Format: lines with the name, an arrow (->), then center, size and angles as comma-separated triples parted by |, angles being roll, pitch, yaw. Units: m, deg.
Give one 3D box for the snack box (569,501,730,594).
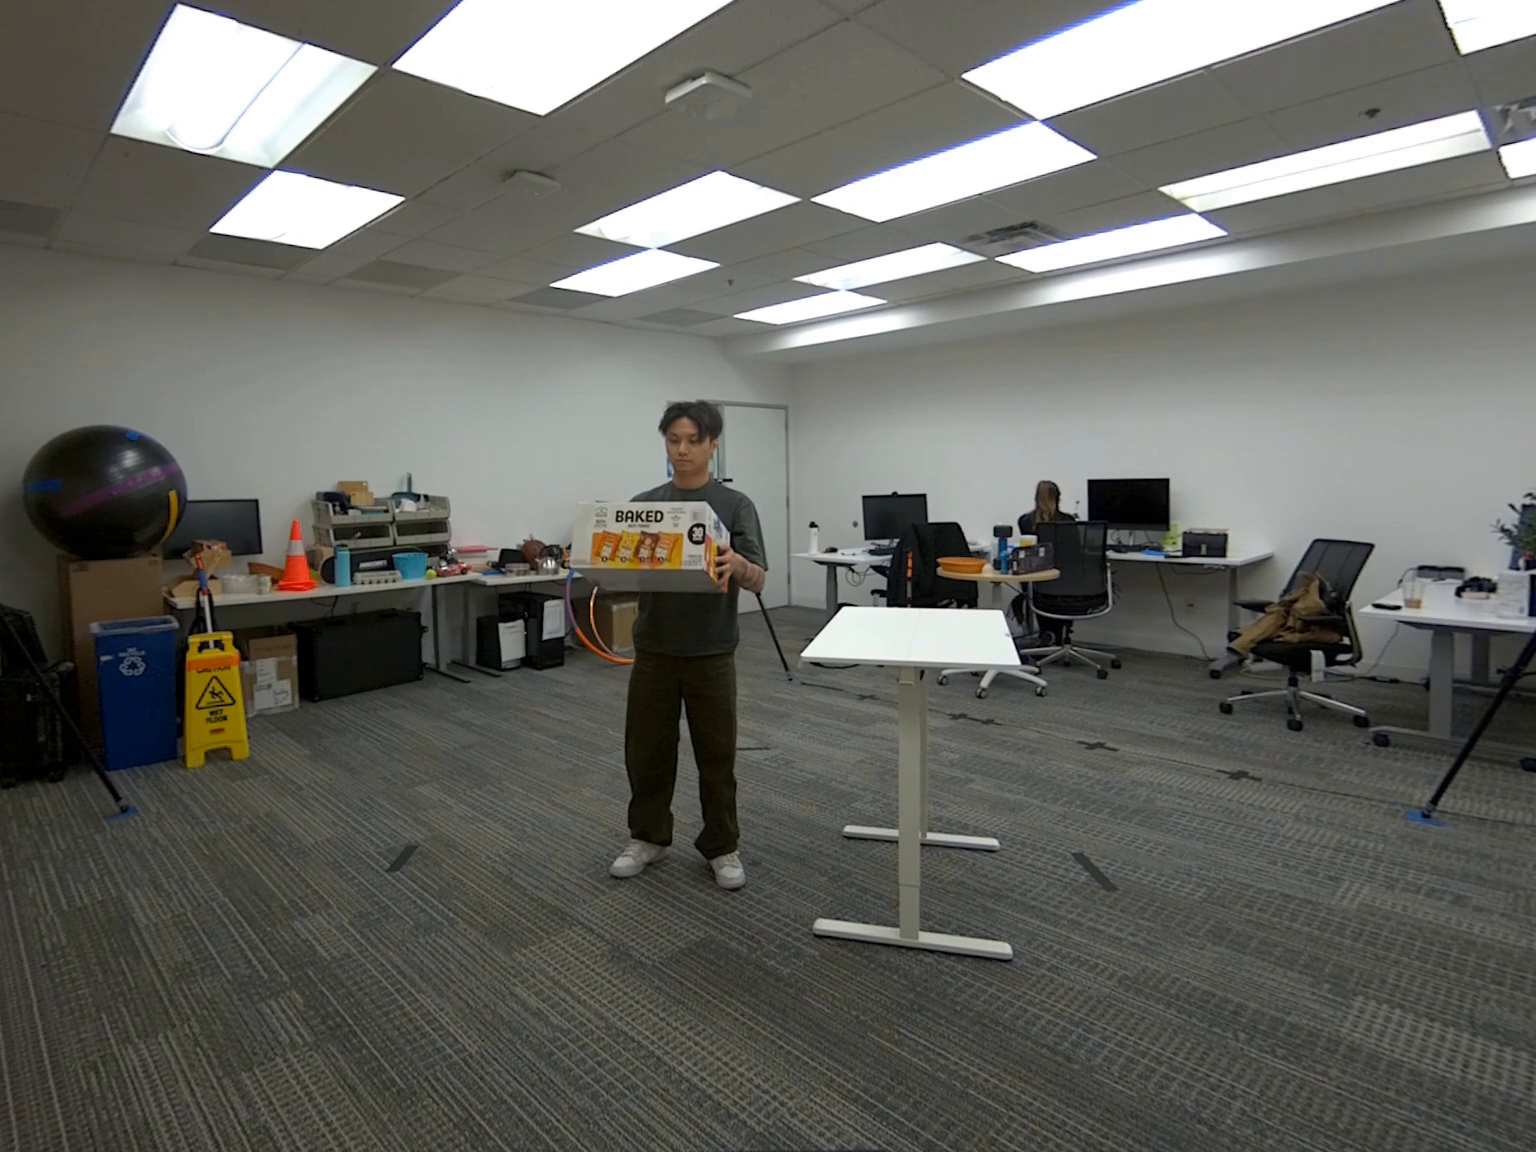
snack box -> -0.355, -0.080, 2.641 | 0.410, 0.208, 0.332 | 0, -13, 11
